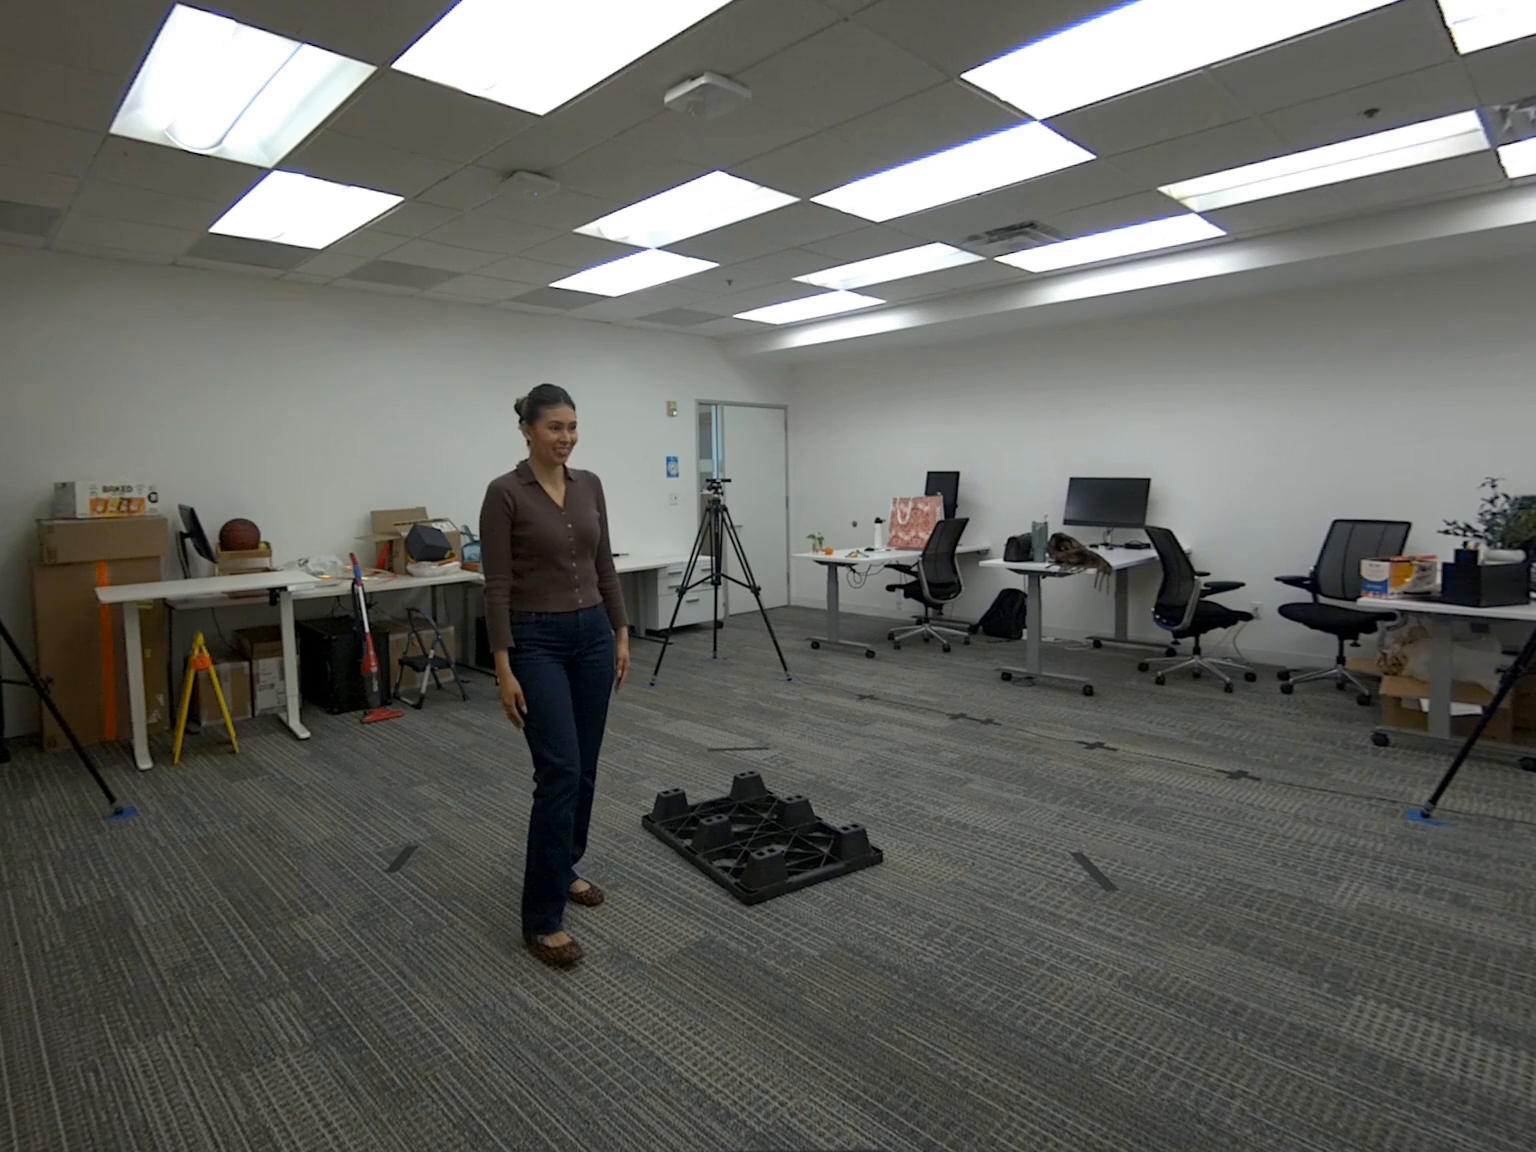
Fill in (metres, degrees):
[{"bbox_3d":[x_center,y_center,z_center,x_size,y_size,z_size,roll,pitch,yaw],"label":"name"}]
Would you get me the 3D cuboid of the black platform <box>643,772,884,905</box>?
[{"bbox_3d":[-0.051,0.957,3.280,0.590,0.143,0.829,-5,7,-33],"label":"black platform"}]
